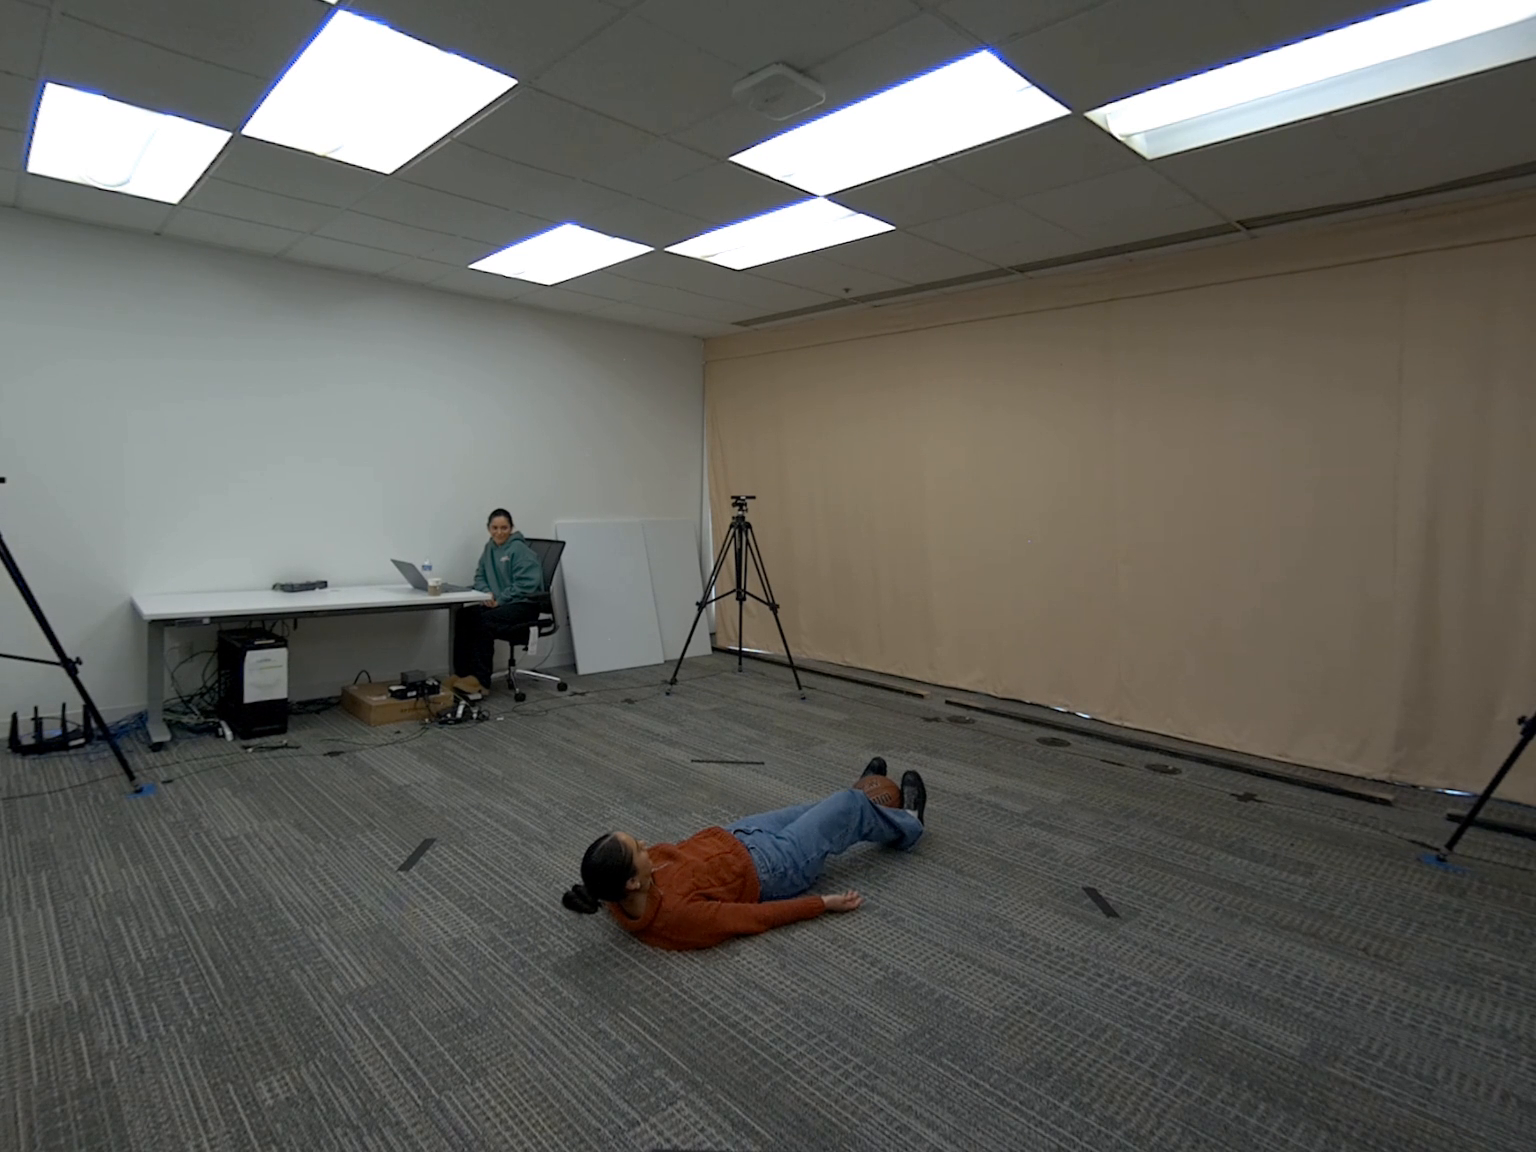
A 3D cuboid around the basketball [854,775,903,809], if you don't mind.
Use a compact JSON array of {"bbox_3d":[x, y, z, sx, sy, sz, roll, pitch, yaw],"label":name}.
[{"bbox_3d":[0.452,0.962,3.555,0.236,0.235,0.237,1,4,-1],"label":"basketball"}]
